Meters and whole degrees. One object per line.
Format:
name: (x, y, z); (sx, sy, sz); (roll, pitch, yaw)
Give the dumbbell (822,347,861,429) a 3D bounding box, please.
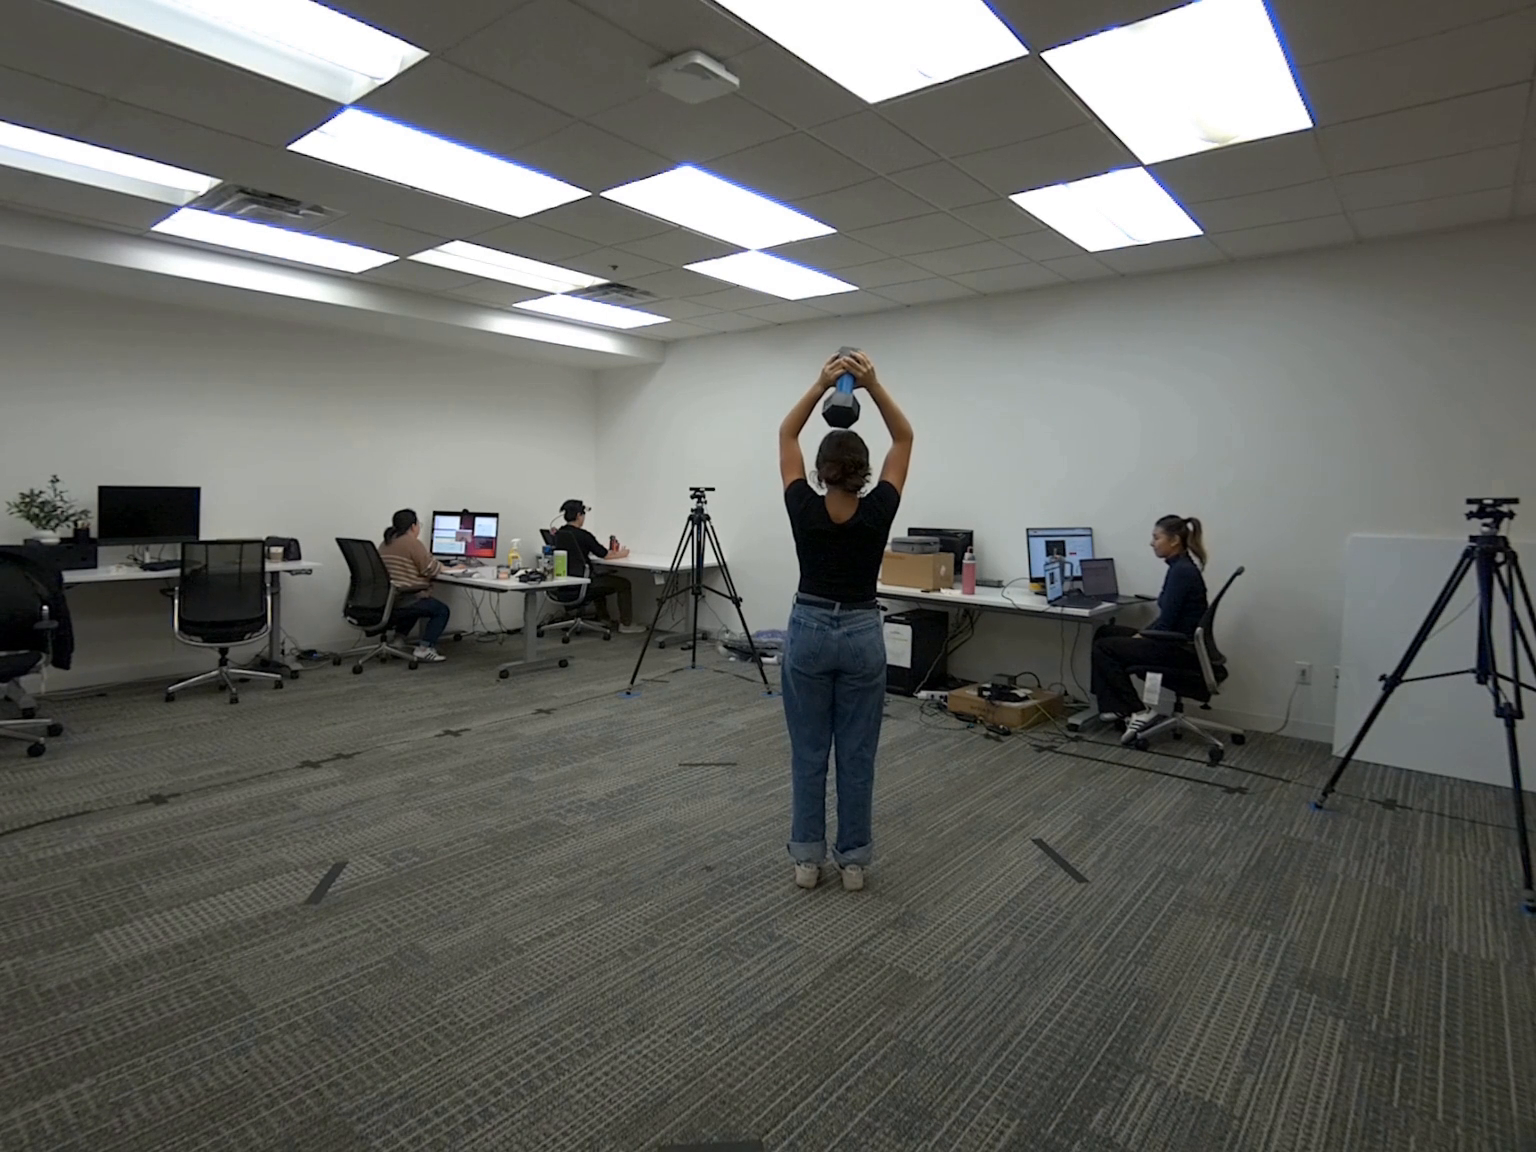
dumbbell: (0.250, -0.627, 2.847); (0.111, 0.299, 0.118); (-10, -39, 31)
